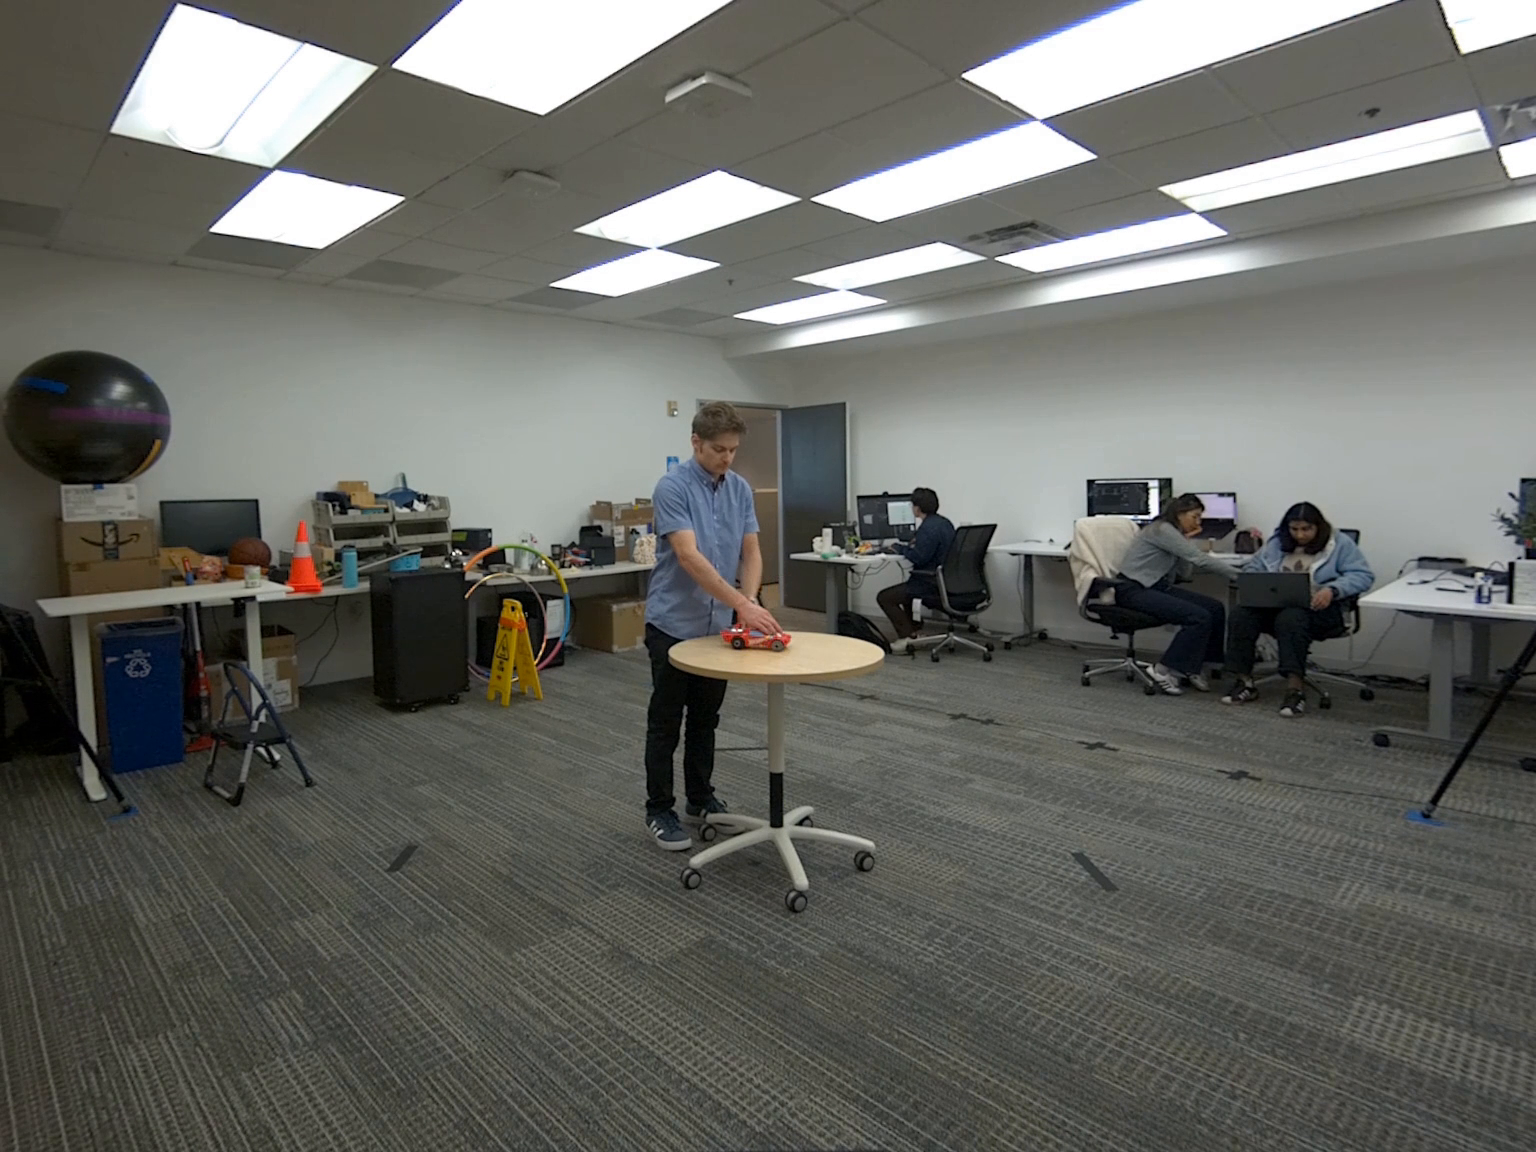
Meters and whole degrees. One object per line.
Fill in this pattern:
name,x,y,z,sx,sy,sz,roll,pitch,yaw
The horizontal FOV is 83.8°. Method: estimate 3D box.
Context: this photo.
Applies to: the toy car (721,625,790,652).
toy car,-0.043,0.231,3.094,0.257,0.083,0.129,11,7,9
